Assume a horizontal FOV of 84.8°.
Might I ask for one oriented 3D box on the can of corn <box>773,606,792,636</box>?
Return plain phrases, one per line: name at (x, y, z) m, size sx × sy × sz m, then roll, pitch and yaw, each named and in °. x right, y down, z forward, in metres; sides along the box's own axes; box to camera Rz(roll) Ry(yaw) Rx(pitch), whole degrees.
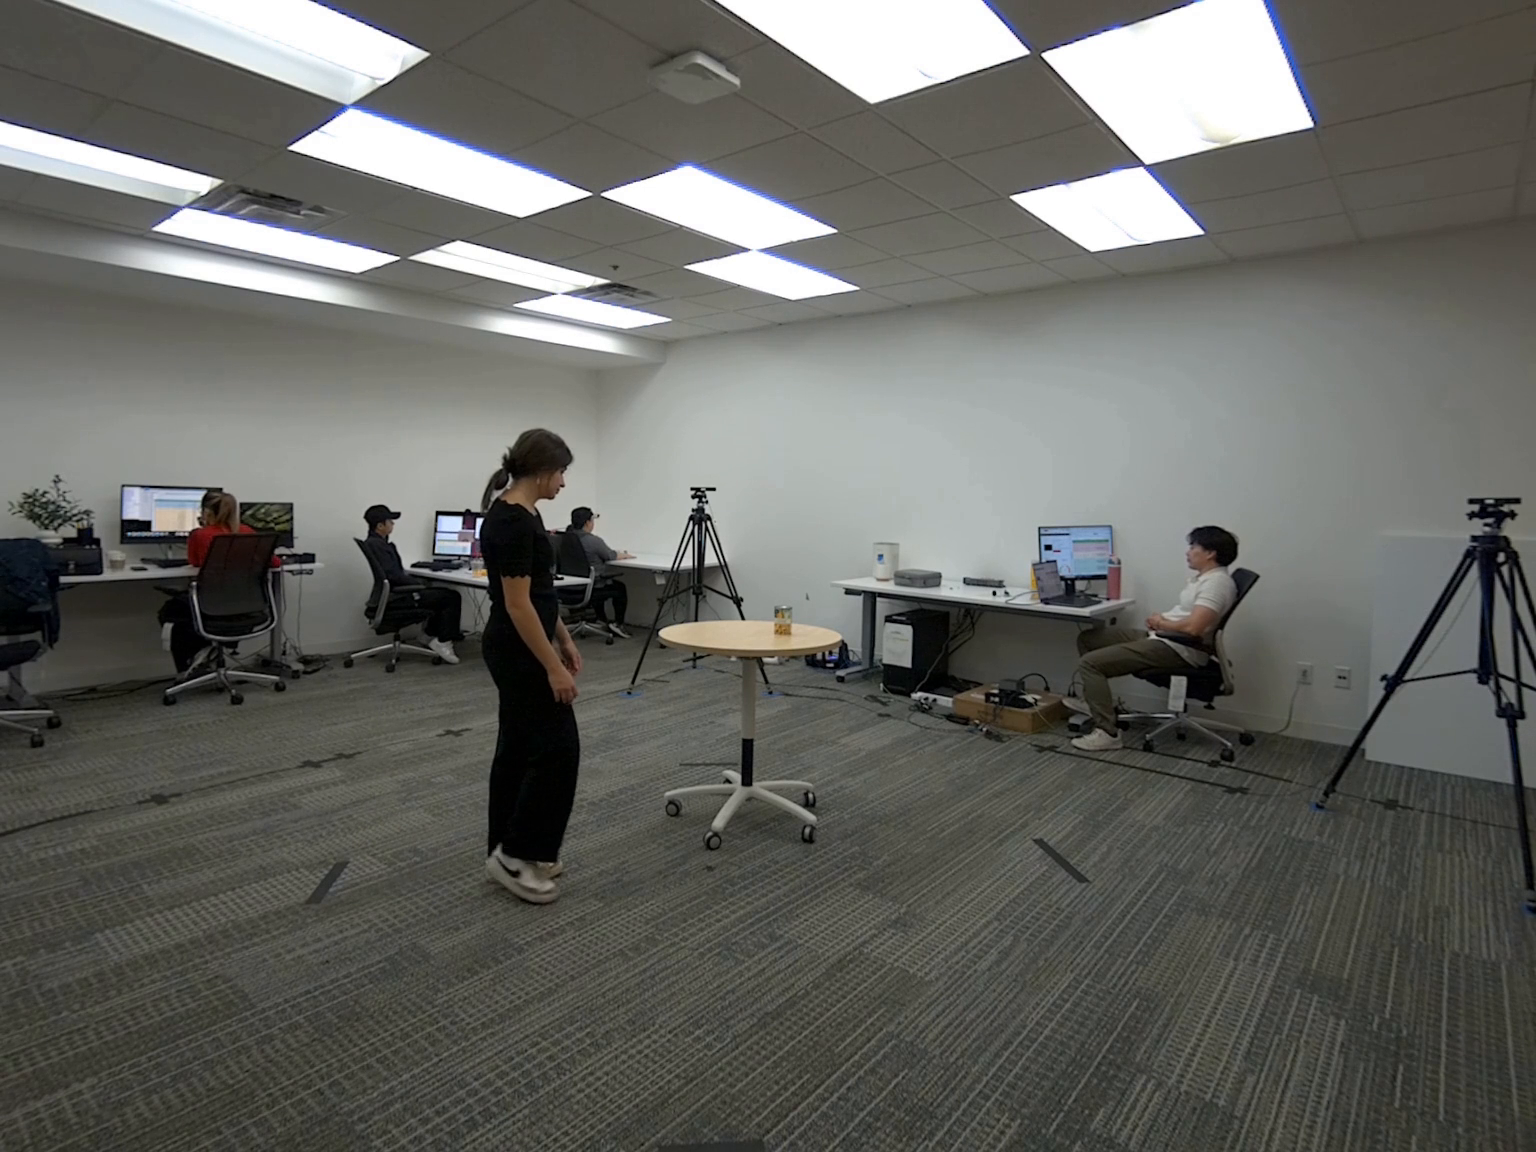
can of corn at (0.058, 0.186, 3.590) m, size 0.074 × 0.111 × 0.074 m, roll 2°, pitch 1°, yaw -2°
